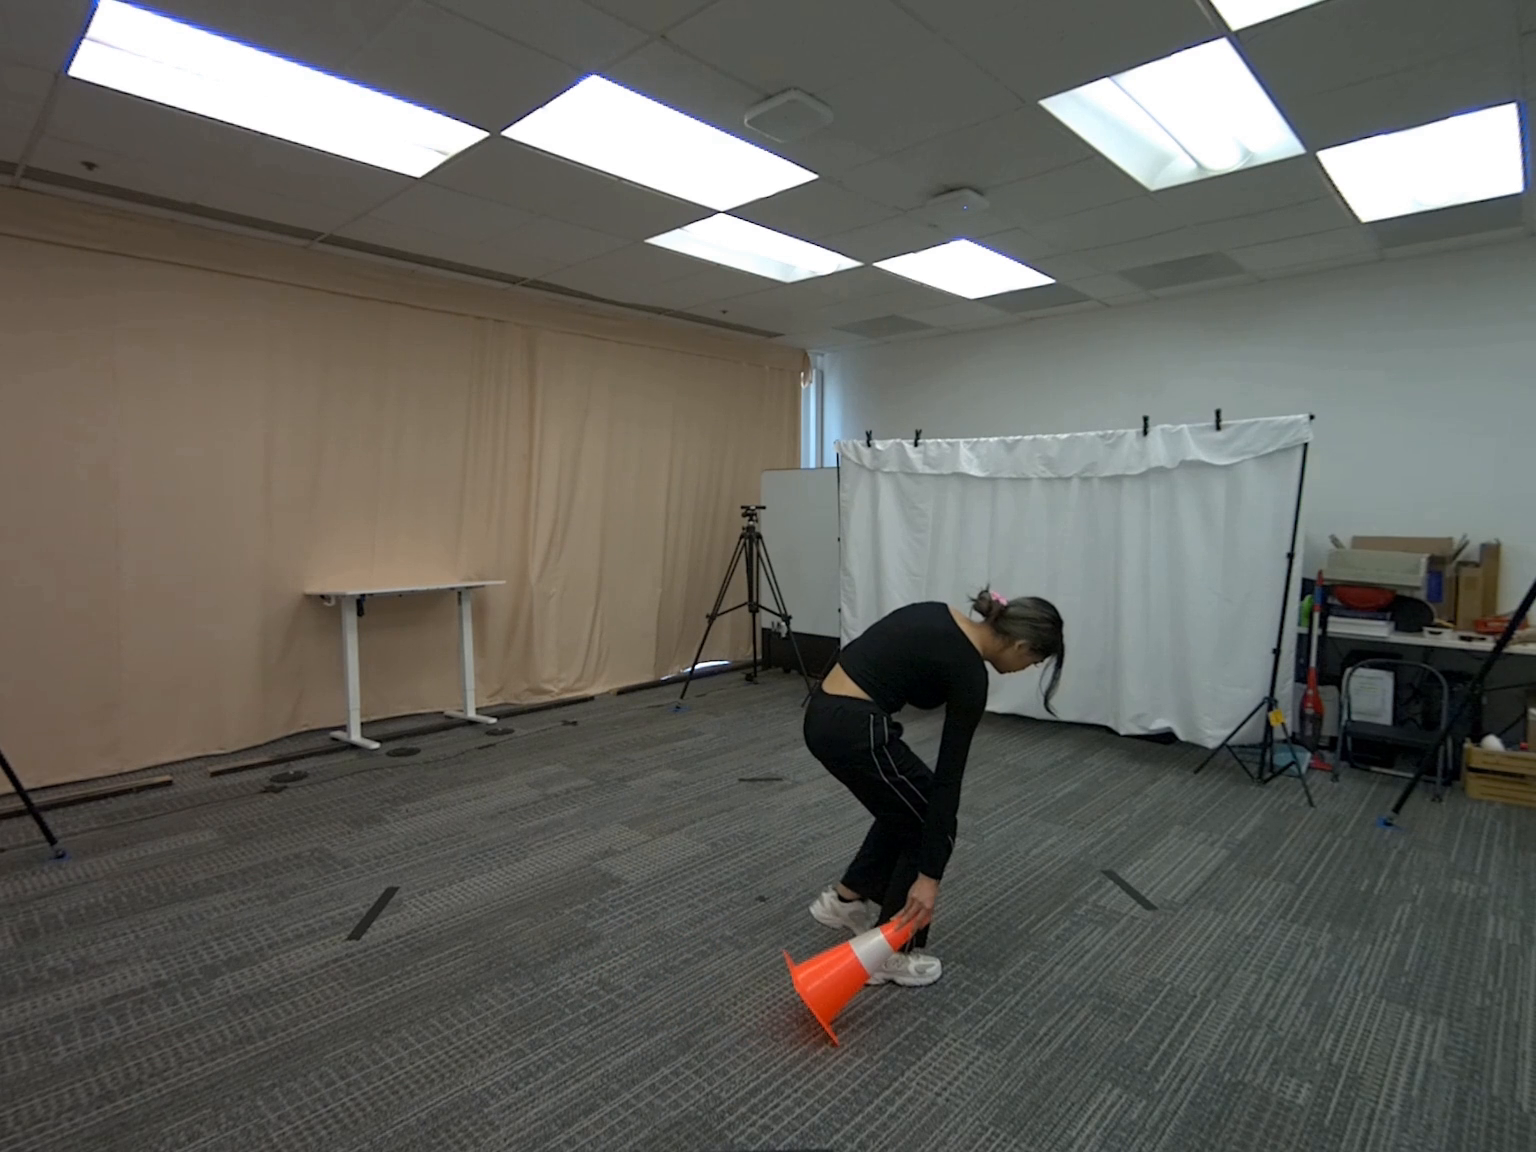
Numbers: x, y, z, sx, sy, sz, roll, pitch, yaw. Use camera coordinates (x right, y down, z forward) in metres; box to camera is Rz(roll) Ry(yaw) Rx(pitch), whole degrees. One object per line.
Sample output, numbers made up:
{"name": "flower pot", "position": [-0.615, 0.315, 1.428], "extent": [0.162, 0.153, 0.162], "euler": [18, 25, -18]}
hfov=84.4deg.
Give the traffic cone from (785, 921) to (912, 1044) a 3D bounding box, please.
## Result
{"name": "traffic cone", "position": [0.263, 1.019, 2.250], "extent": [0.383, 0.203, 0.205], "euler": [-34, 2, -1]}
